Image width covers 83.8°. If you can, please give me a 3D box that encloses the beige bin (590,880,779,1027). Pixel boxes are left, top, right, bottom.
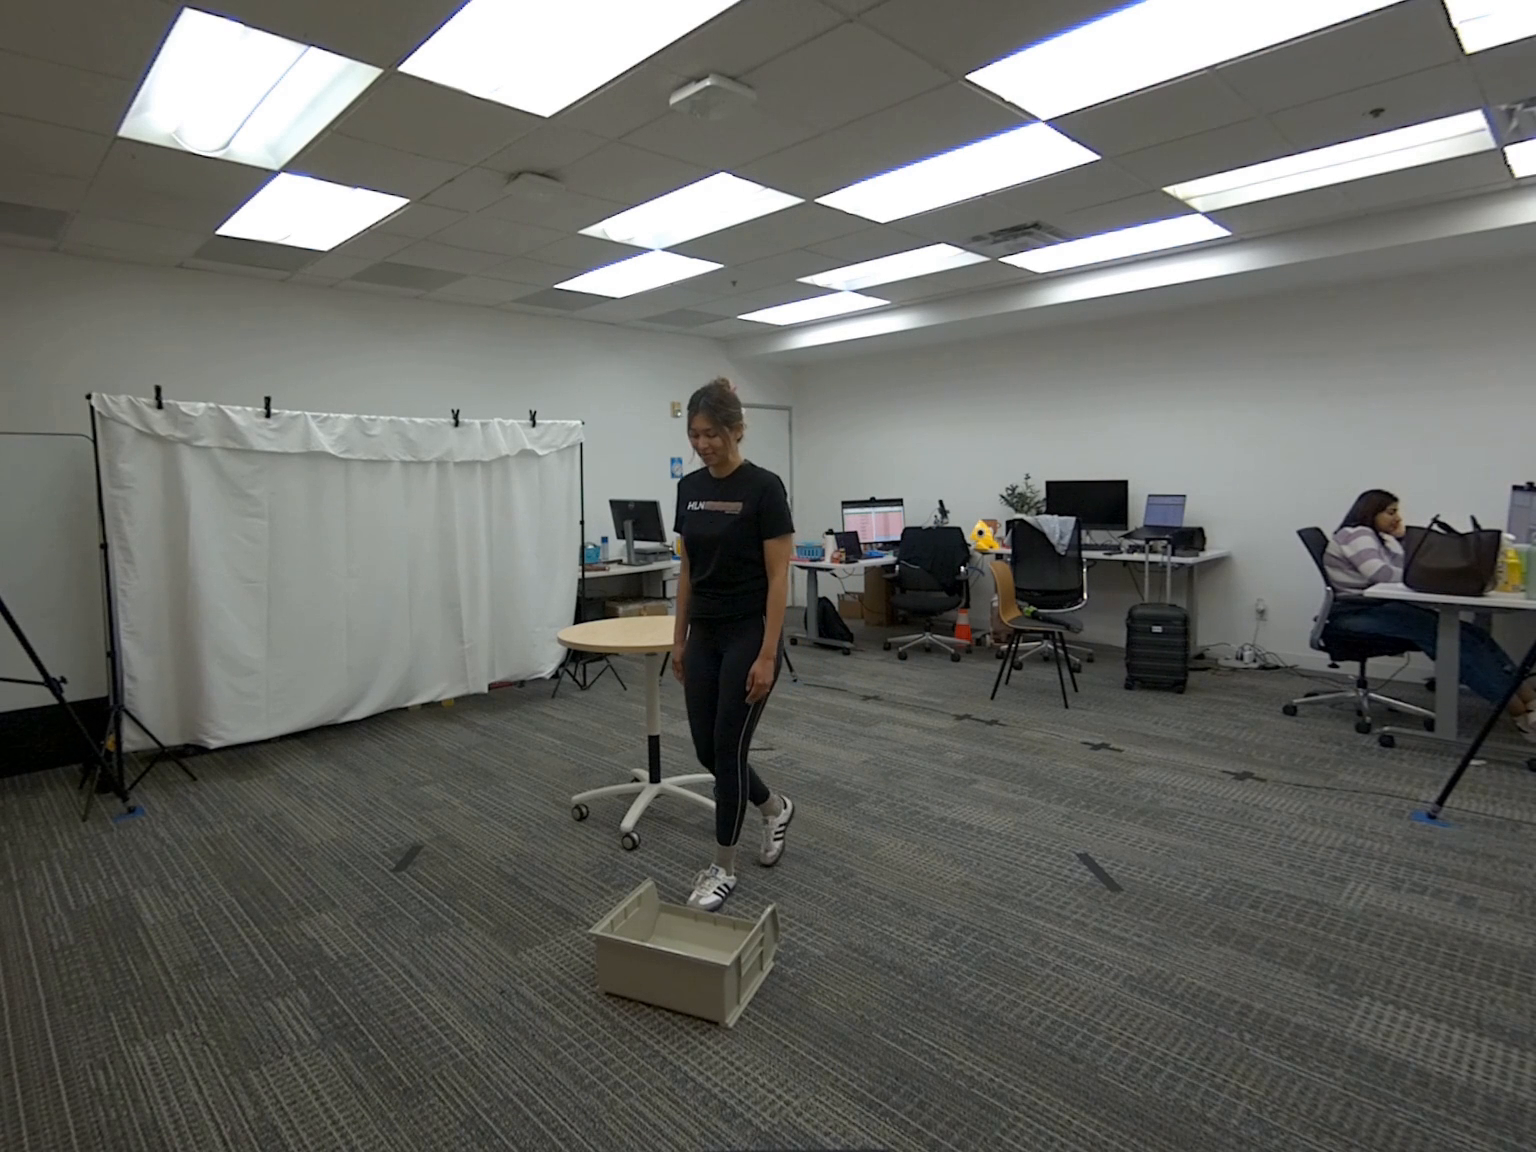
[{"bbox_3d":[-0.220,1.050,2.410,0.431,0.188,0.371,2,8,23],"label":"beige bin"}]
